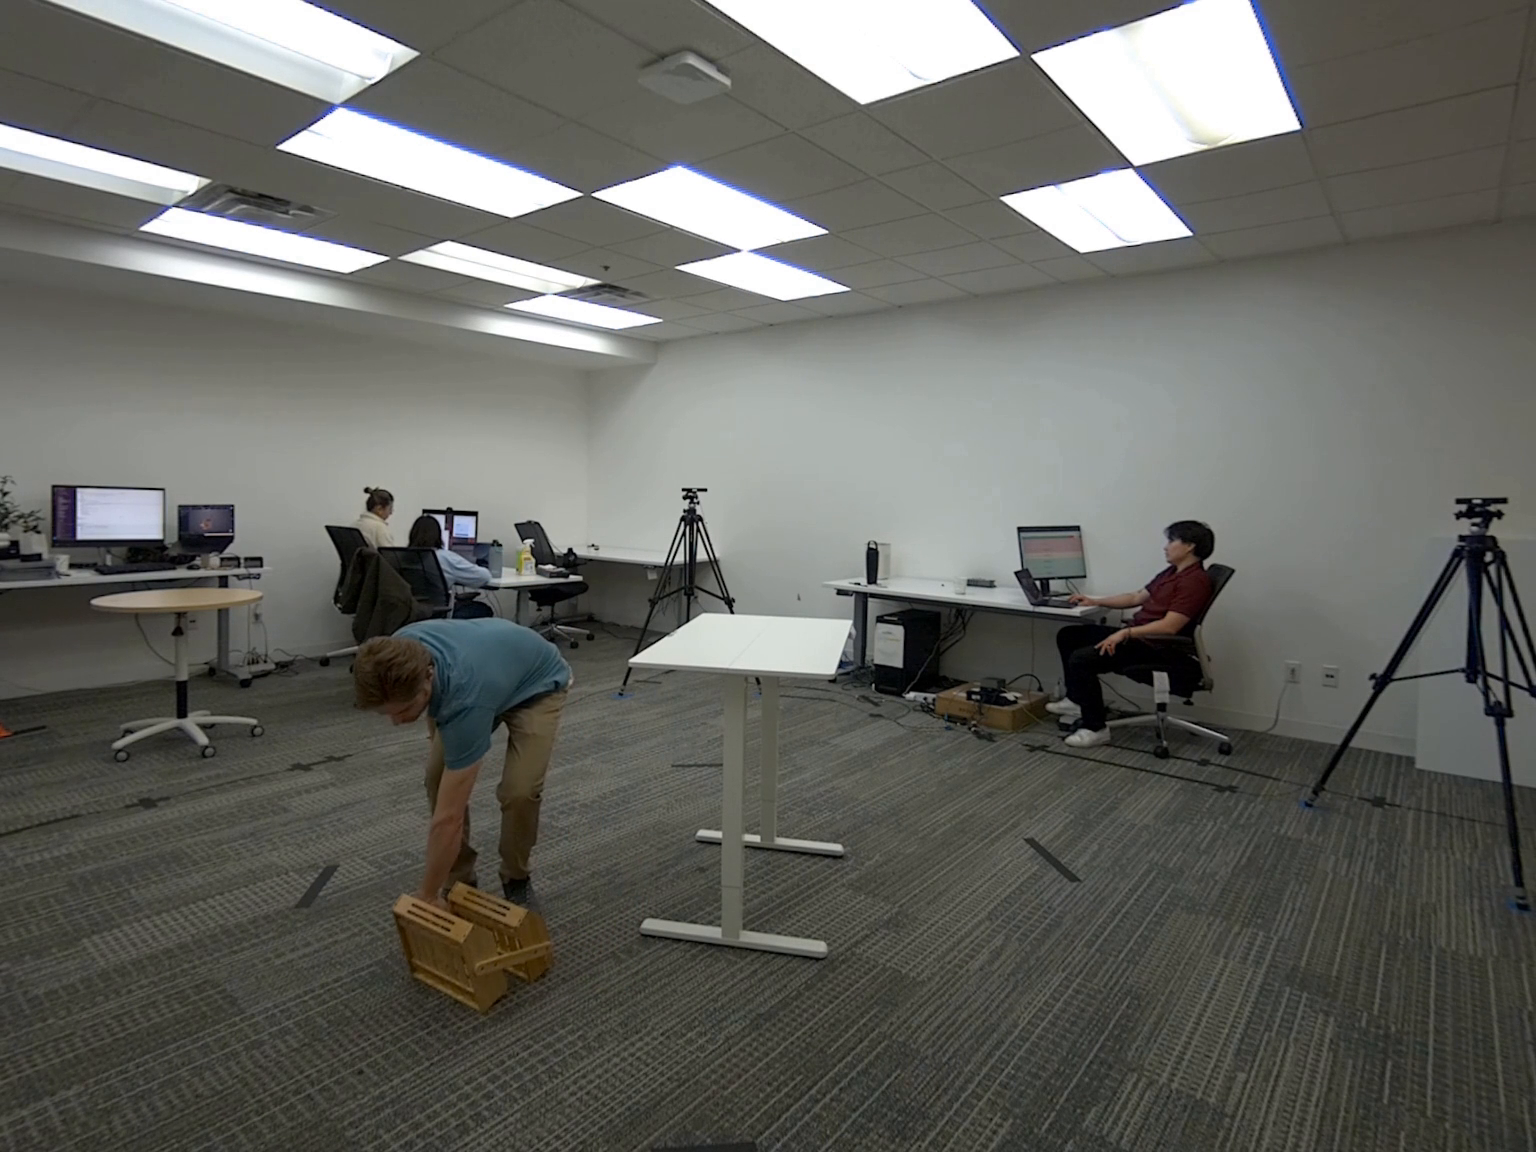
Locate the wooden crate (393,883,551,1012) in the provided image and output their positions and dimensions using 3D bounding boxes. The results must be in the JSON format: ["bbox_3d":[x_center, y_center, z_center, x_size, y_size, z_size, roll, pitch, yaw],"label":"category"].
[{"bbox_3d":[-0.831,0.994,2.391,0.334,0.296,0.270,4,21,31],"label":"wooden crate"}]
